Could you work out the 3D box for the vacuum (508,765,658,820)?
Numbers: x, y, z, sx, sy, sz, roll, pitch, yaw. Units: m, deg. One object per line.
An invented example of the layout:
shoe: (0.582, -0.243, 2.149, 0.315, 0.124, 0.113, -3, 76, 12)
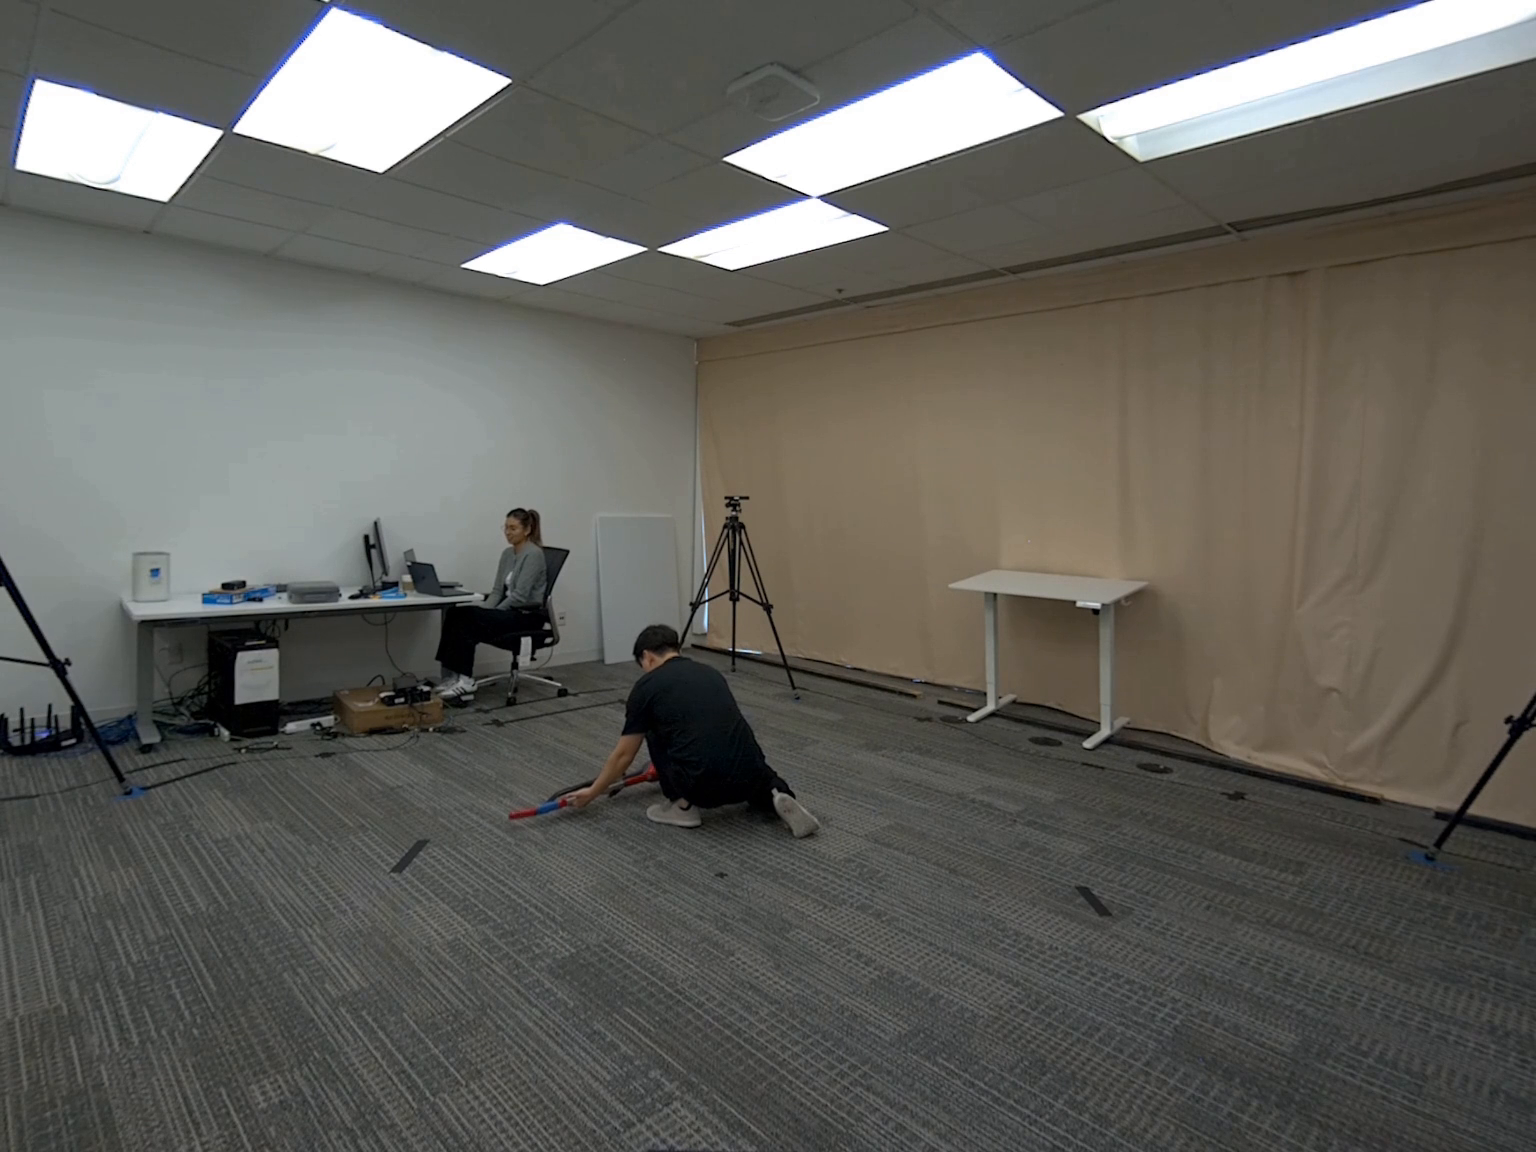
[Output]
vacuum: (-0.677, 0.938, 3.828, 1.028, 0.252, 0.147, -8, 1, -40)
